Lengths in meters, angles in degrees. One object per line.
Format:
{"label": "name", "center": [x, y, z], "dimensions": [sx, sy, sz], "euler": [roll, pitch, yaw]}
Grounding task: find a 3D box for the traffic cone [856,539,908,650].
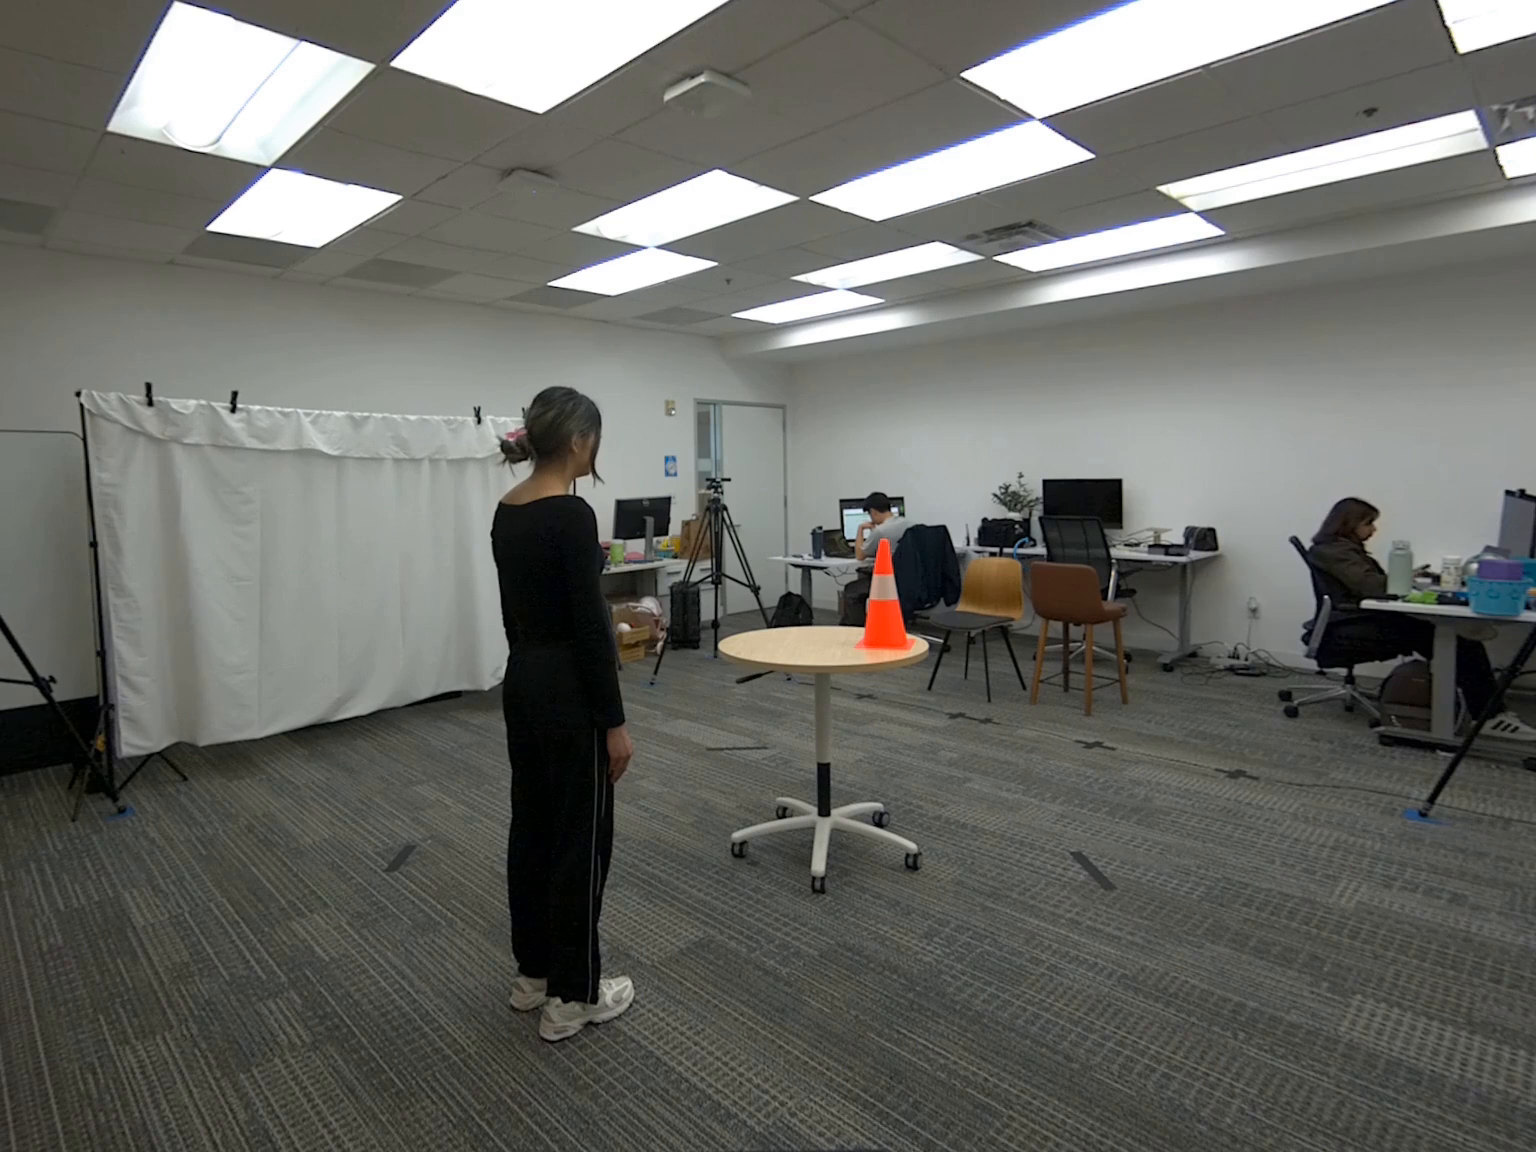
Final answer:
{"label": "traffic cone", "center": [0.426, 0.060, 3.092], "dimensions": [0.207, 0.382, 0.203], "euler": [1, 5, 8]}
